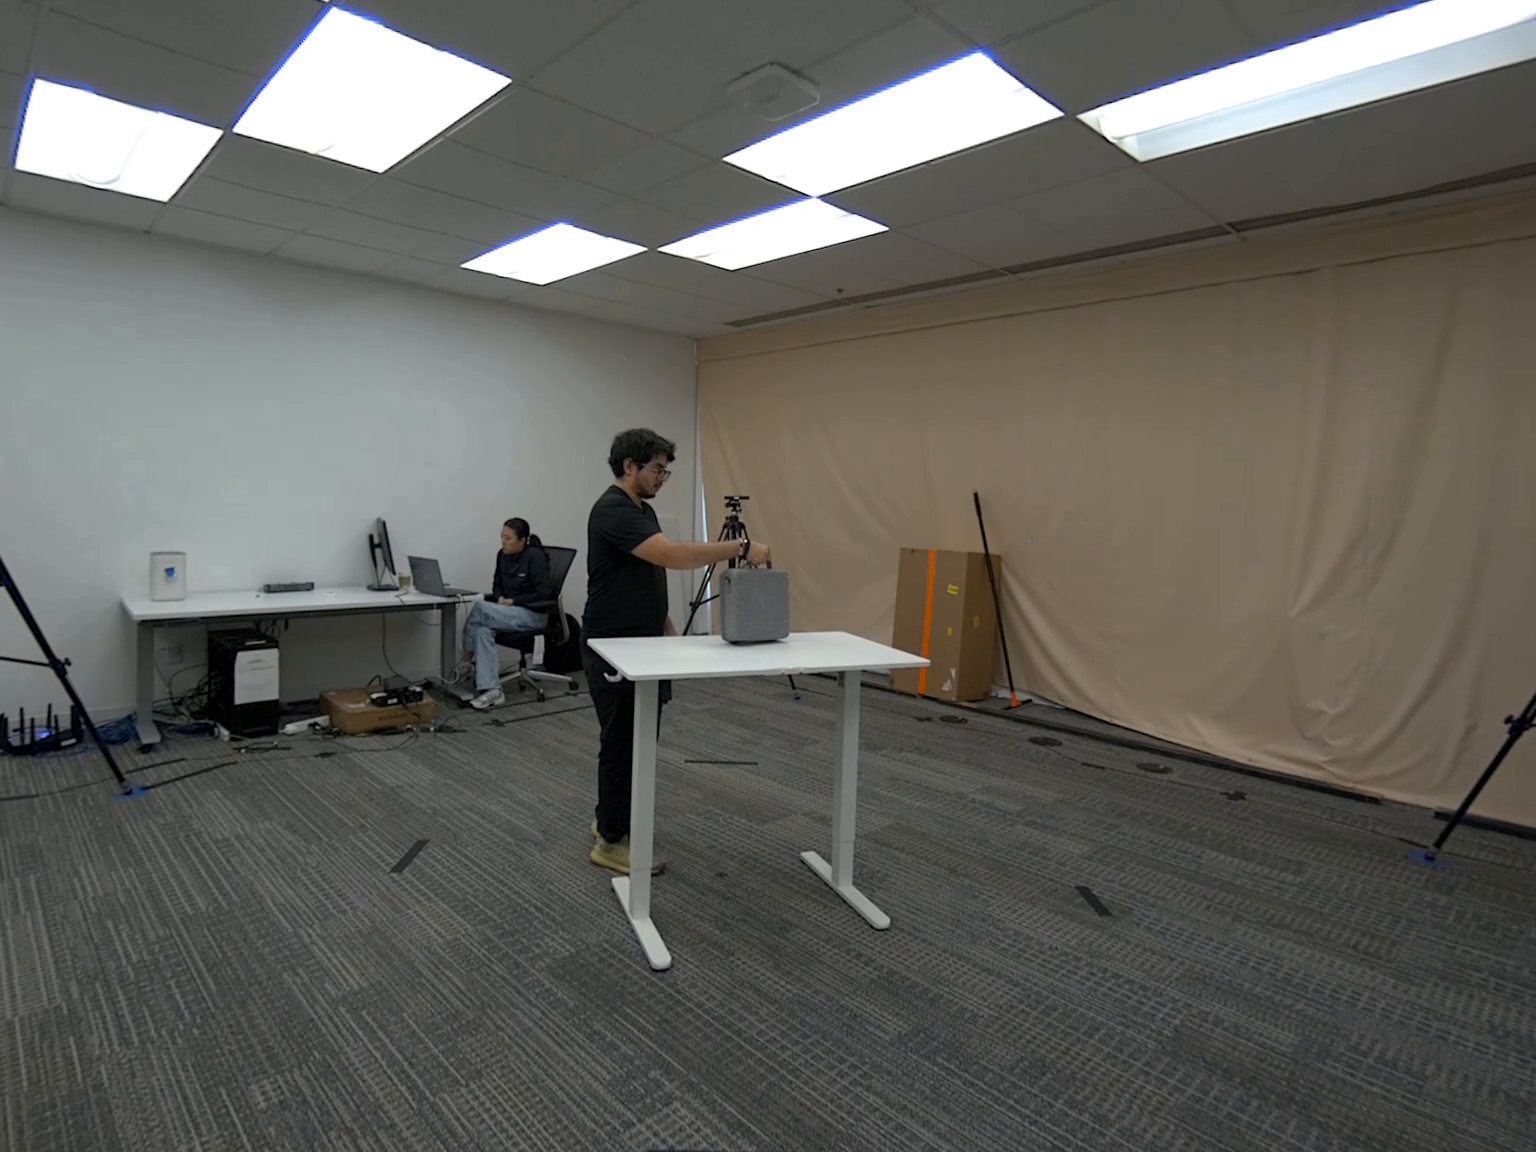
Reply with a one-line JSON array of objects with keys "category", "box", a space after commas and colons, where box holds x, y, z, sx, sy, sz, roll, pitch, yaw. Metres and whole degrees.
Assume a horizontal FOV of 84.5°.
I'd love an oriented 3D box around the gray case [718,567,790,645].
[{"category": "gray case", "box": [-0.059, 0.099, 2.963, 0.251, 0.261, 0.106, 2, -3, -39]}]
